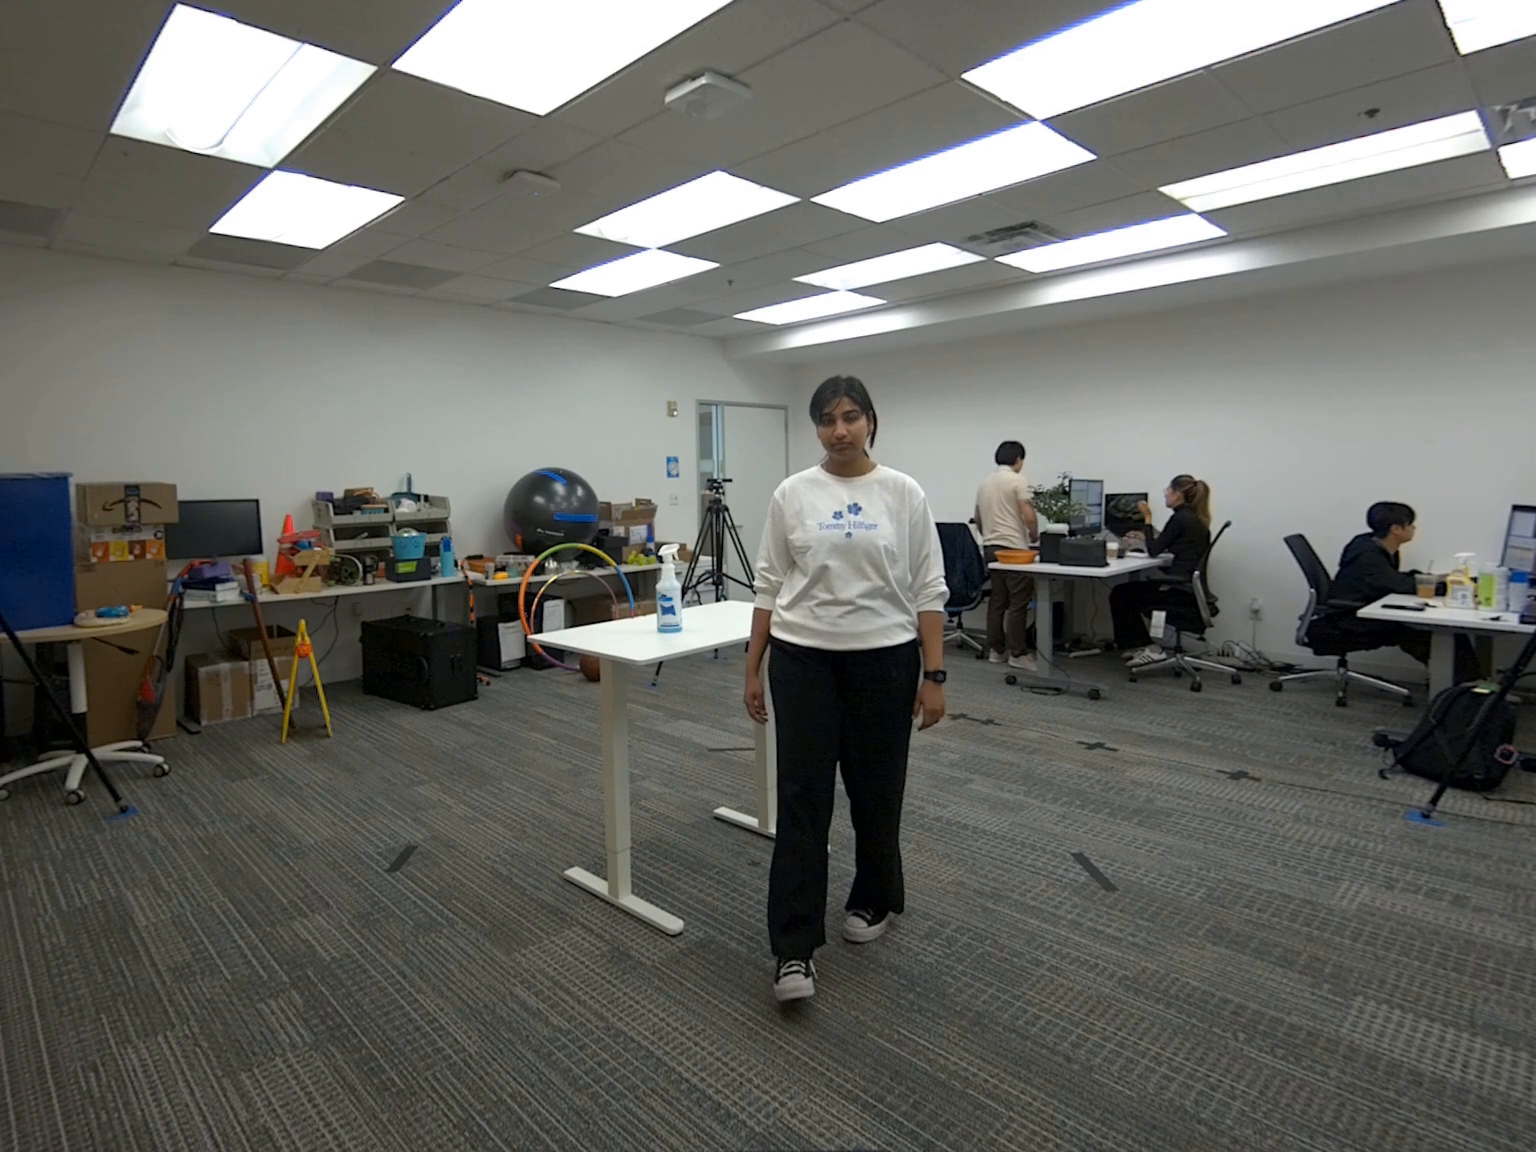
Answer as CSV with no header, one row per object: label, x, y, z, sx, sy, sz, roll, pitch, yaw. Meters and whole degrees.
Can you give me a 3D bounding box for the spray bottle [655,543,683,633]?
spray bottle,-0.337,0.042,2.928,0.088,0.296,0.089,-1,3,-25
